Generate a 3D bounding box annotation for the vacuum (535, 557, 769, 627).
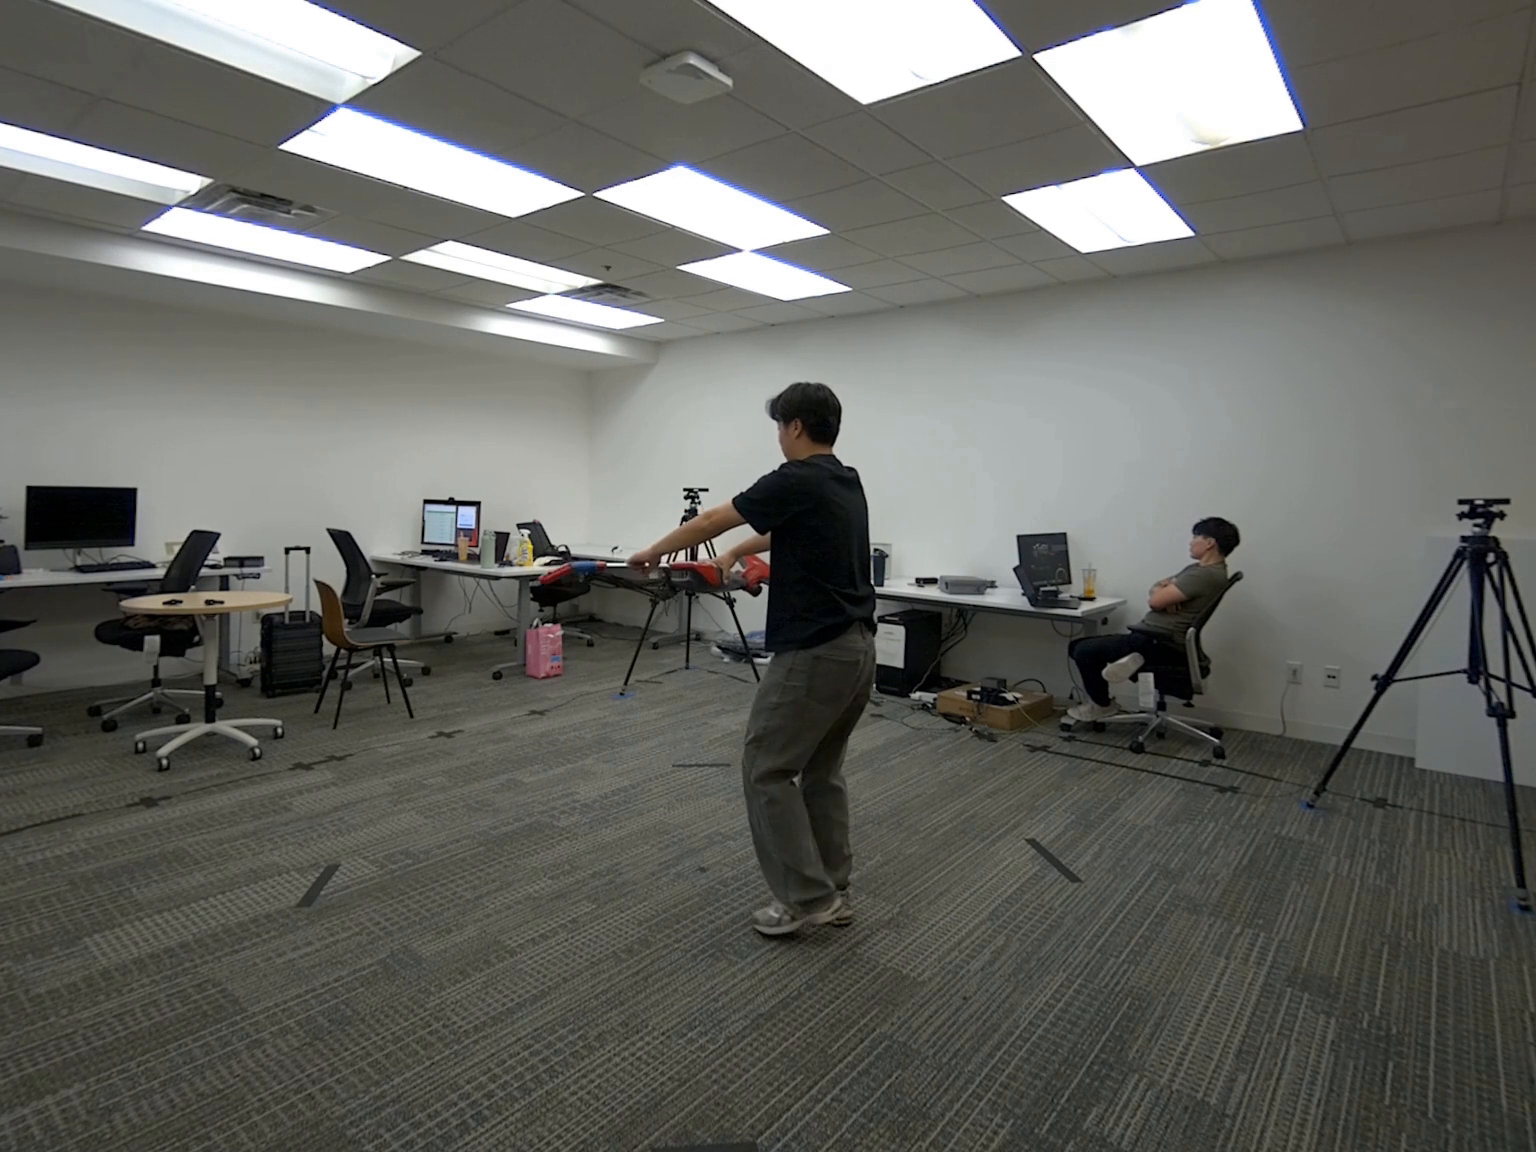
[{"bbox_3d":[-0.383,0.005,3.041,0.263,0.143,1.016,31,20,36],"label":"vacuum"}]
